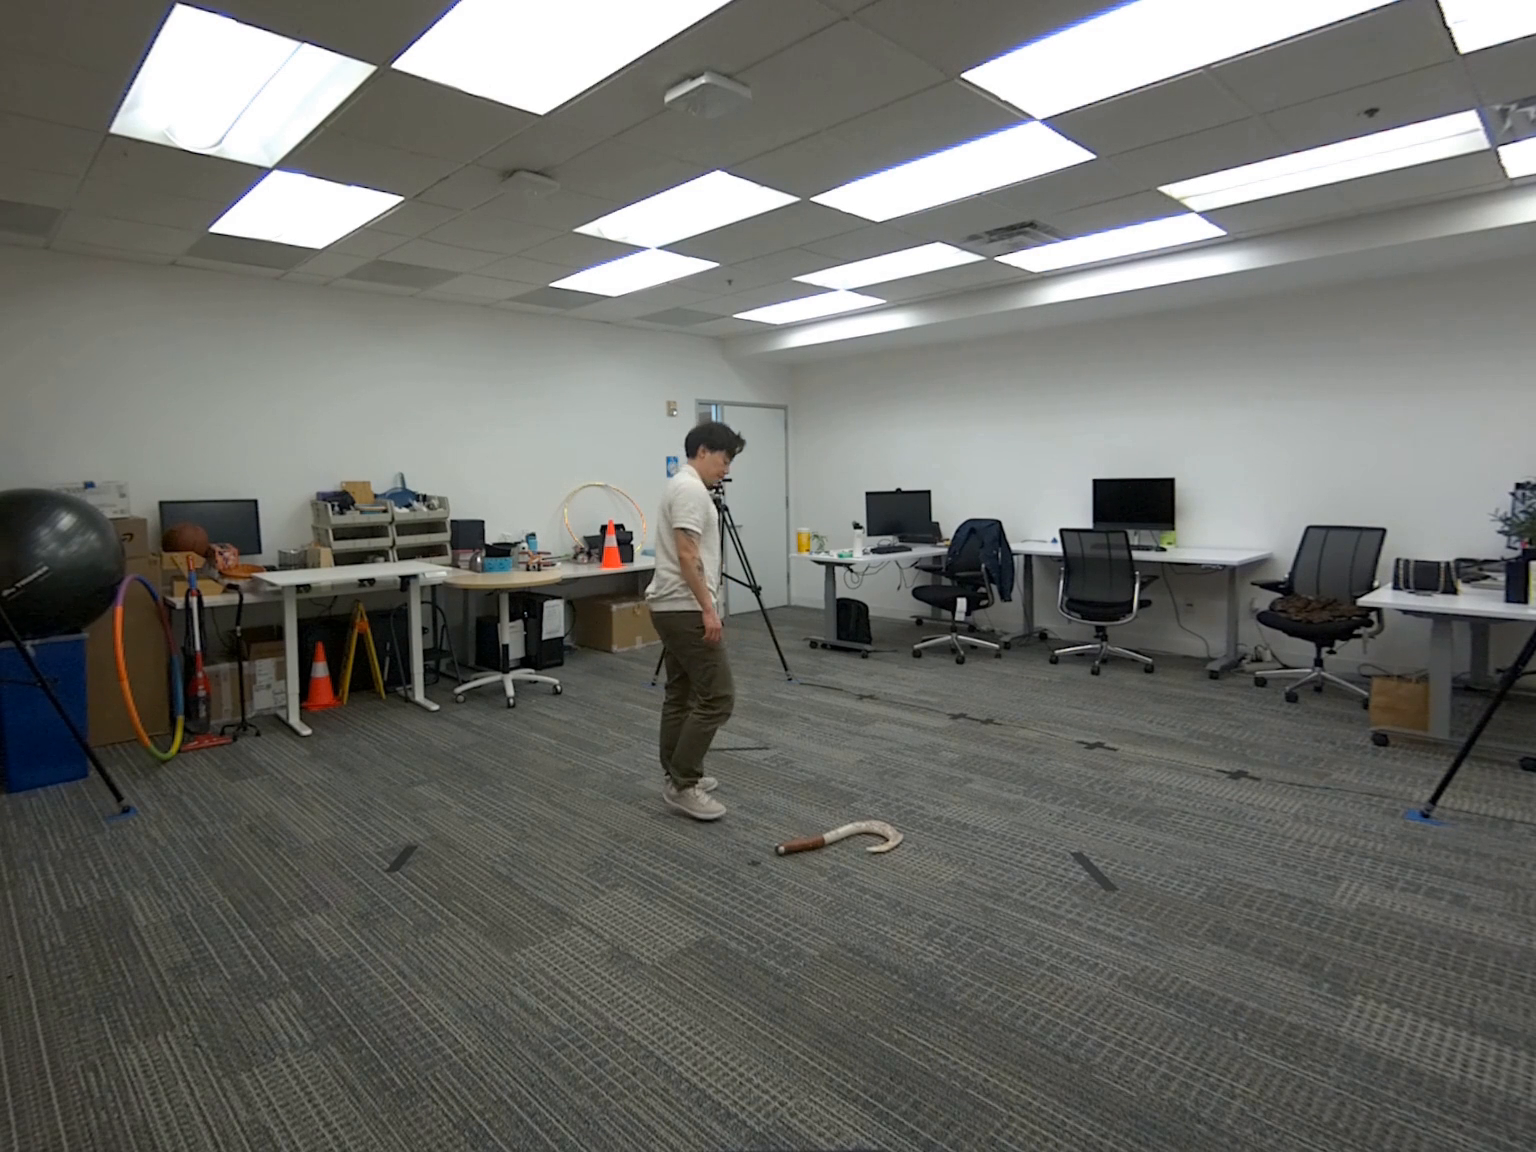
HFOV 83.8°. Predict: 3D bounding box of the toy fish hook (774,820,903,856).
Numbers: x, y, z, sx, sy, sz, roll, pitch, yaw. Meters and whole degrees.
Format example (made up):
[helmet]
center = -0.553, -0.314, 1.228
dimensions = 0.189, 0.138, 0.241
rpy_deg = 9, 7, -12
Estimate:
[toy fish hook]
center = 0.277, 1.003, 3.220
dimensions = 0.496, 0.048, 0.230
rpy_deg = -5, 6, -25
